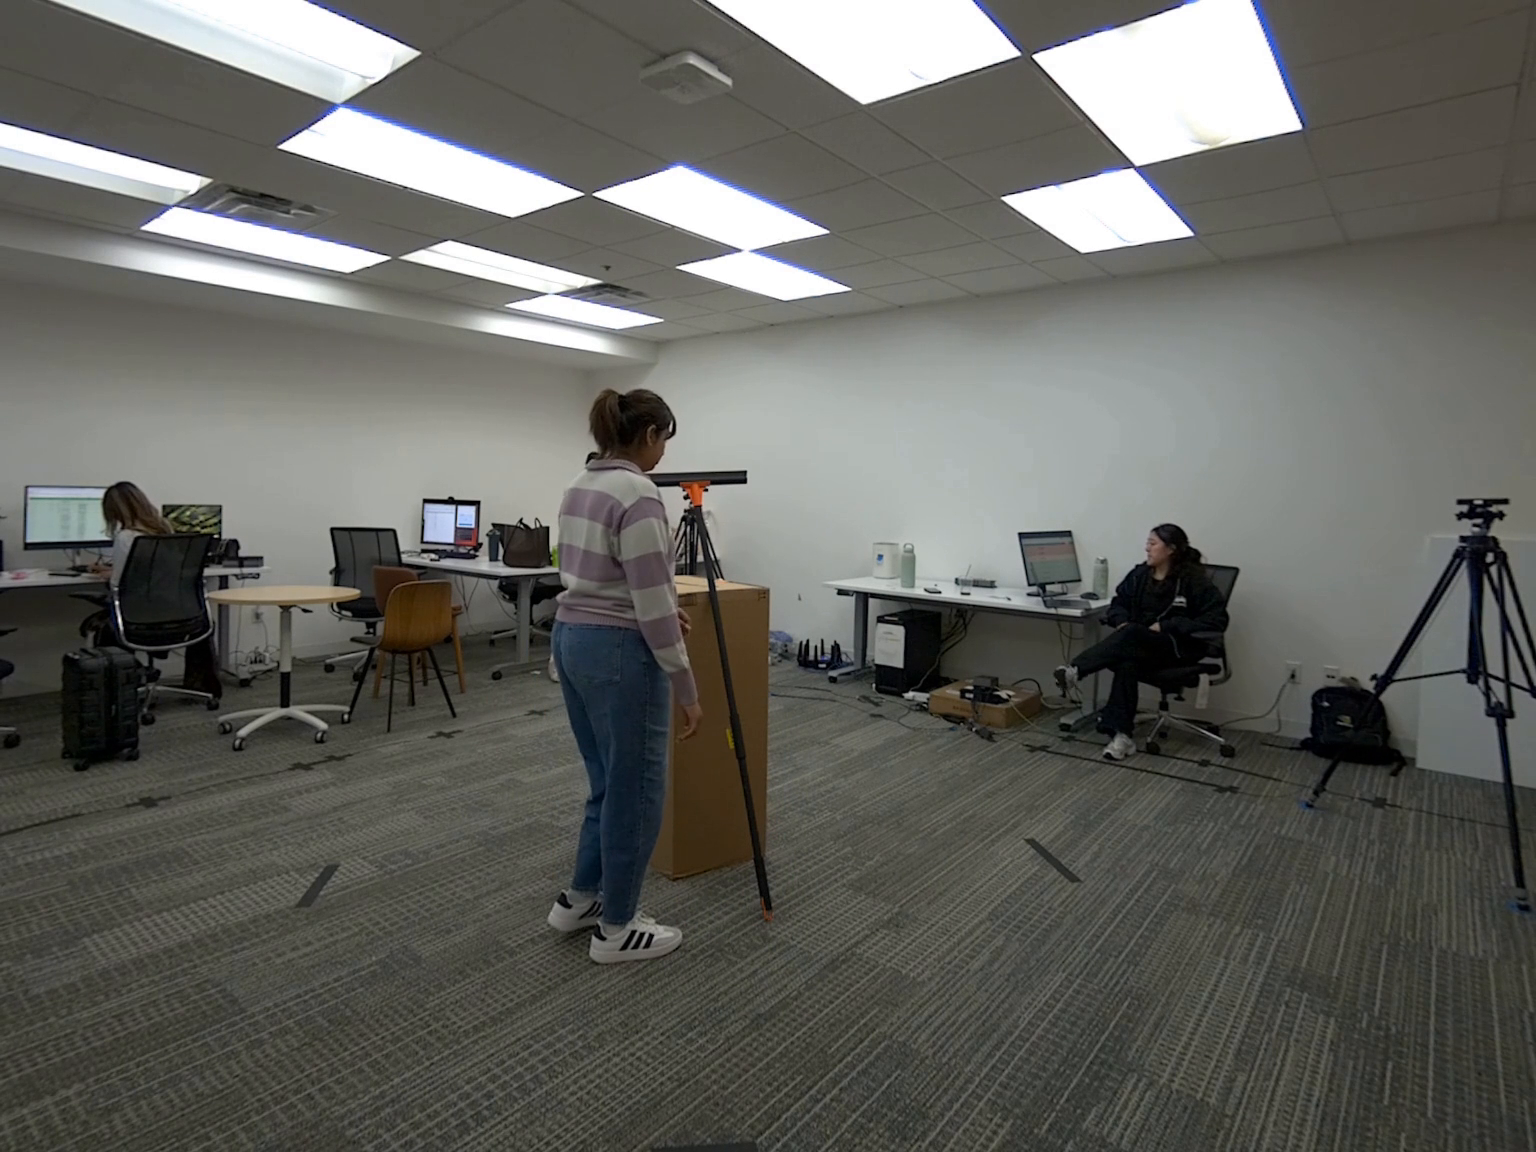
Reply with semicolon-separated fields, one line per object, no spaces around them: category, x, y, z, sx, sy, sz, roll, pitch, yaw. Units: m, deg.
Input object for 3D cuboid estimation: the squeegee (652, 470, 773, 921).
squeegee;-0.150;0.360;2.946;0.428;1.564;0.053;-5;-17;-25
